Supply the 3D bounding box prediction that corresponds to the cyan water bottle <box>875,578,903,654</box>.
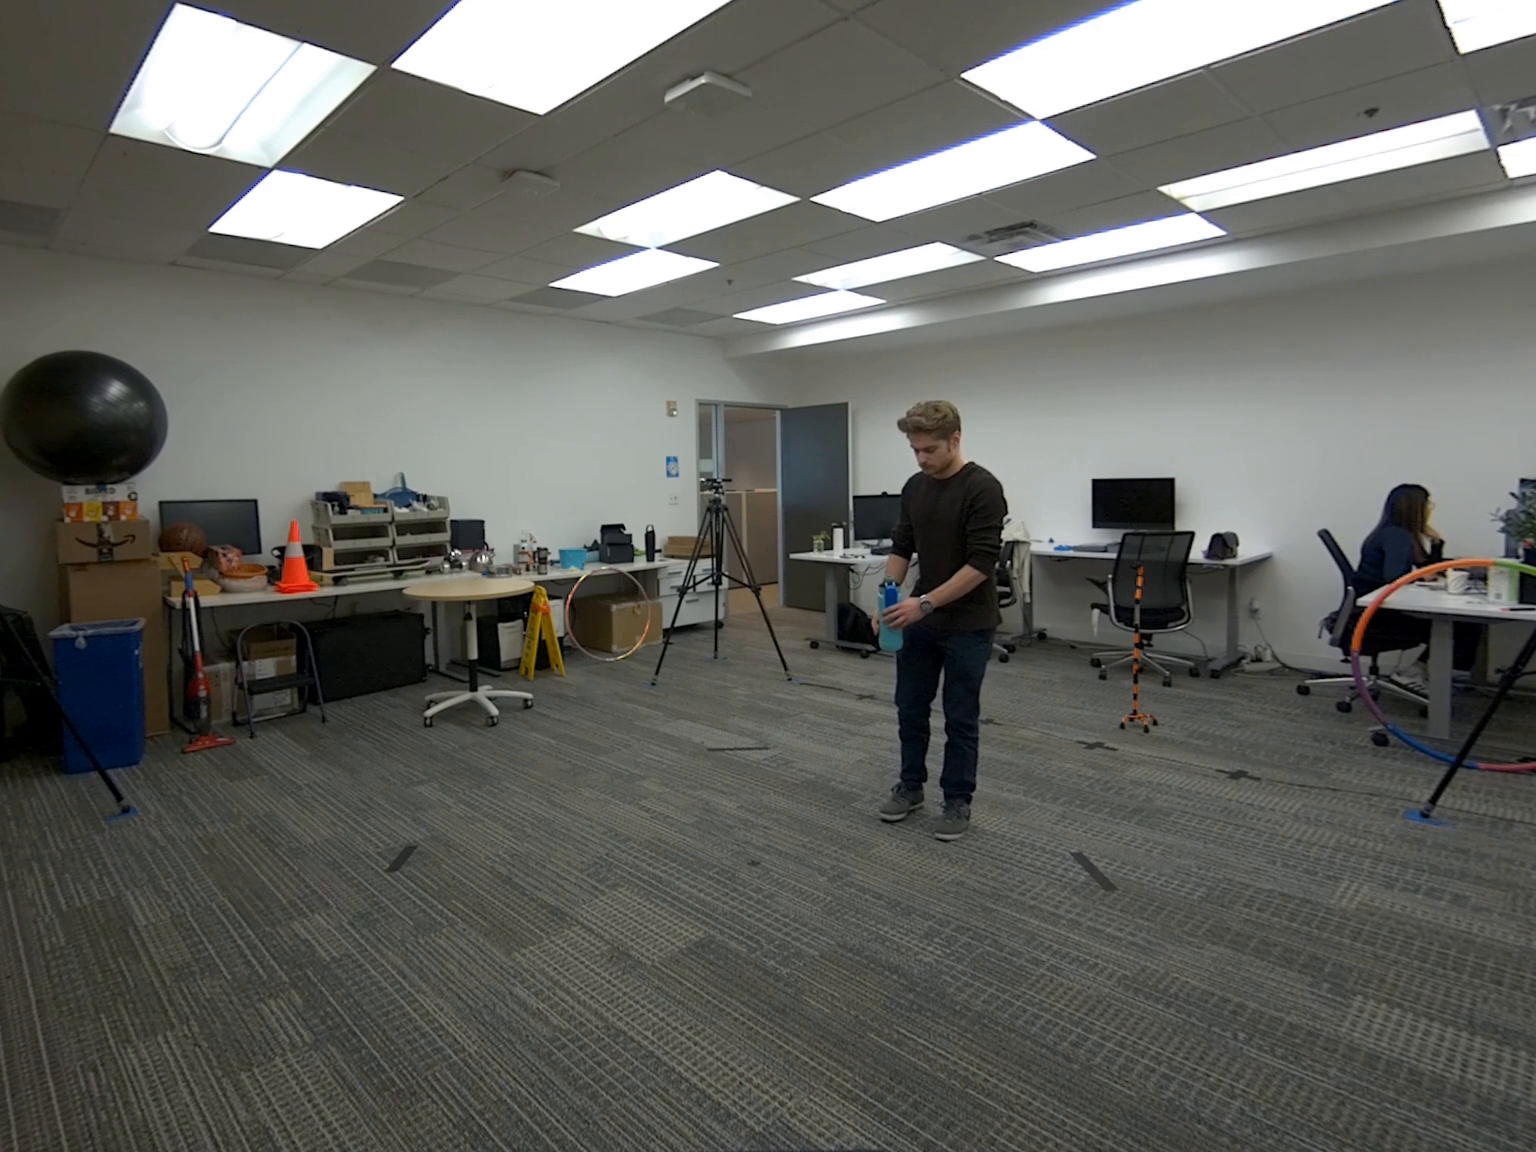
[{"bbox_3d":[0.455,0.141,3.280,0.092,0.278,0.094,-4,21,0],"label":"cyan water bottle"}]
